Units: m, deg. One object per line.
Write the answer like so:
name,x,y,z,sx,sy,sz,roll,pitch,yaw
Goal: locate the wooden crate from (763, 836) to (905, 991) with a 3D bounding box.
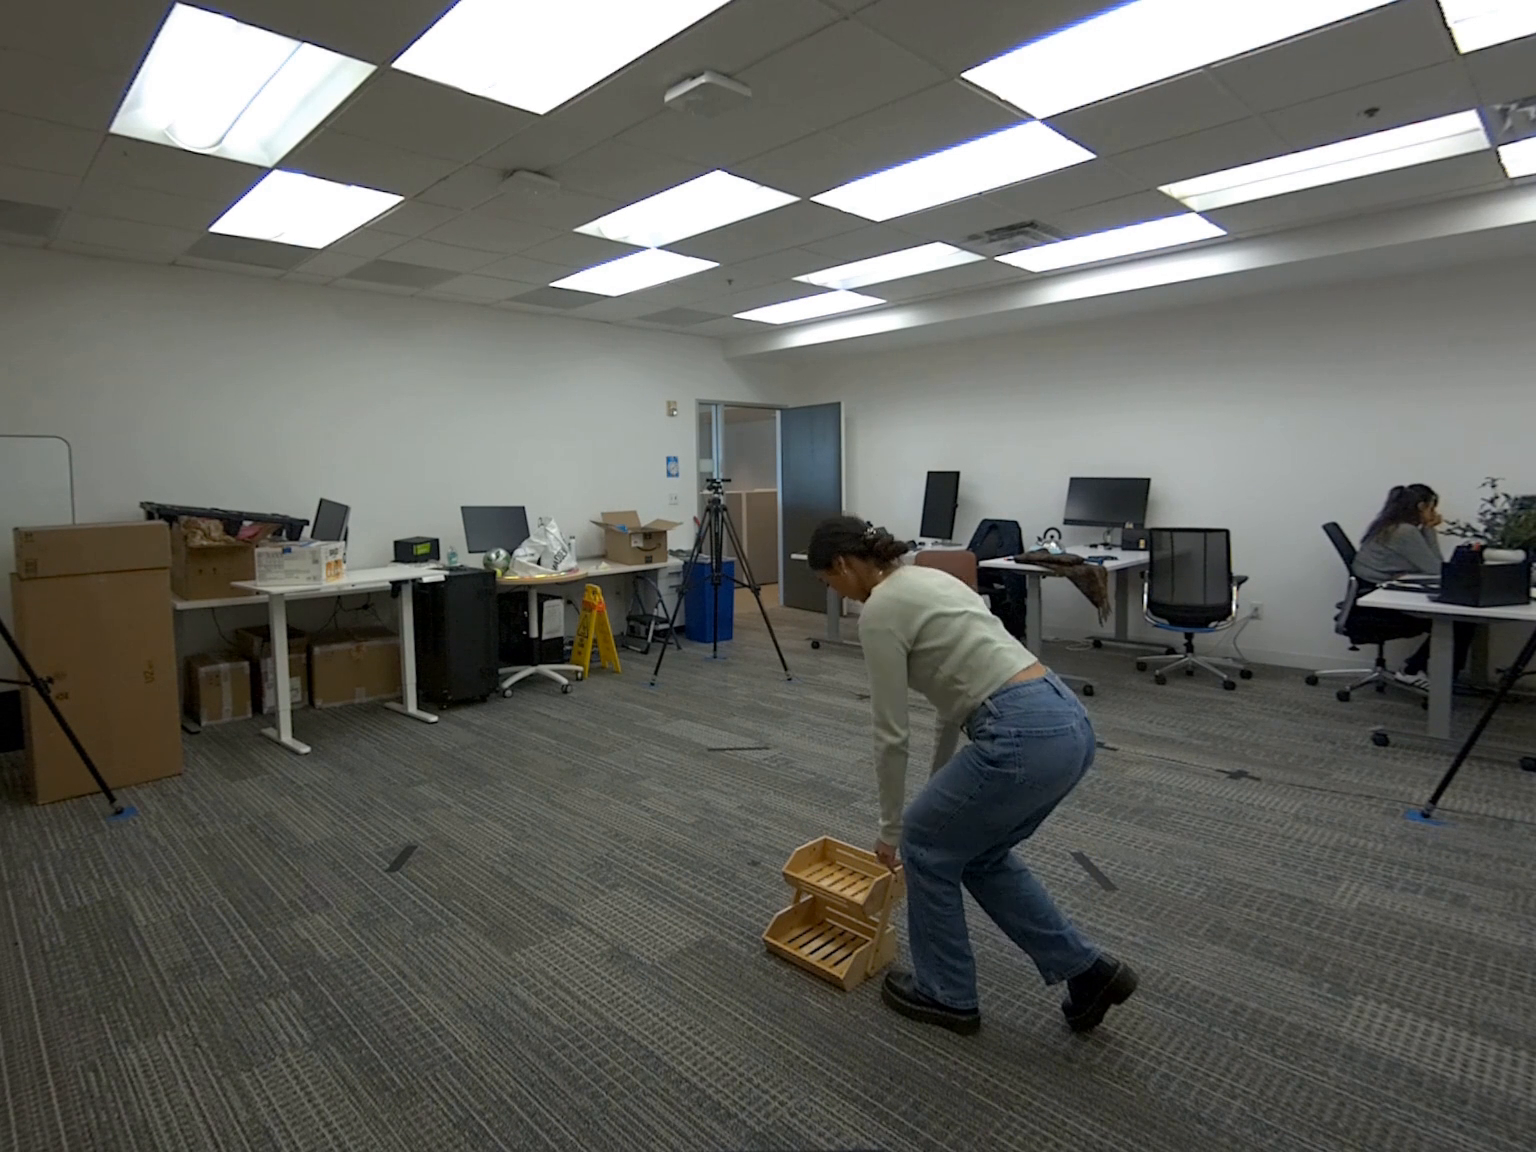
wooden crate,0.198,0.976,2.508,0.334,0.272,0.294,4,6,44
